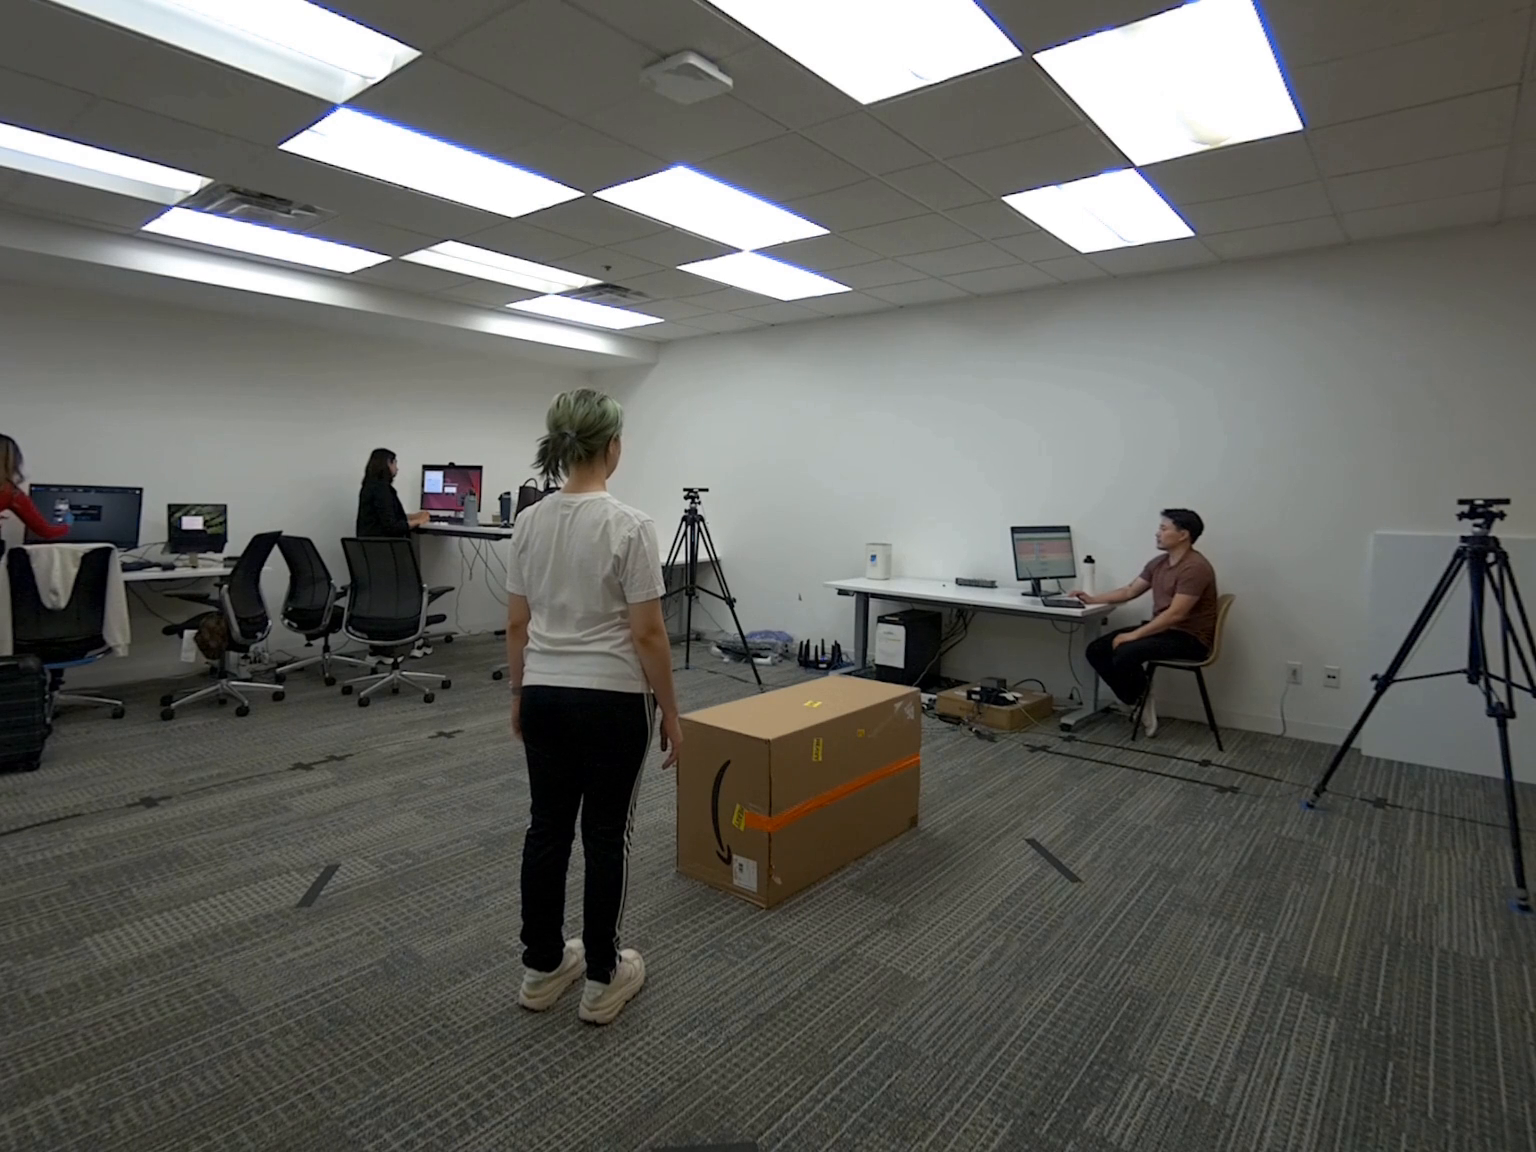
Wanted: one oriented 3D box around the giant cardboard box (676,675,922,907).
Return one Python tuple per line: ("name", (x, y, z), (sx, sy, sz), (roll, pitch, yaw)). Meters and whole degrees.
("giant cardboard box", (0.145, 0.770, 3.311), (0.462, 0.581, 0.997), (5, 7, 39))
